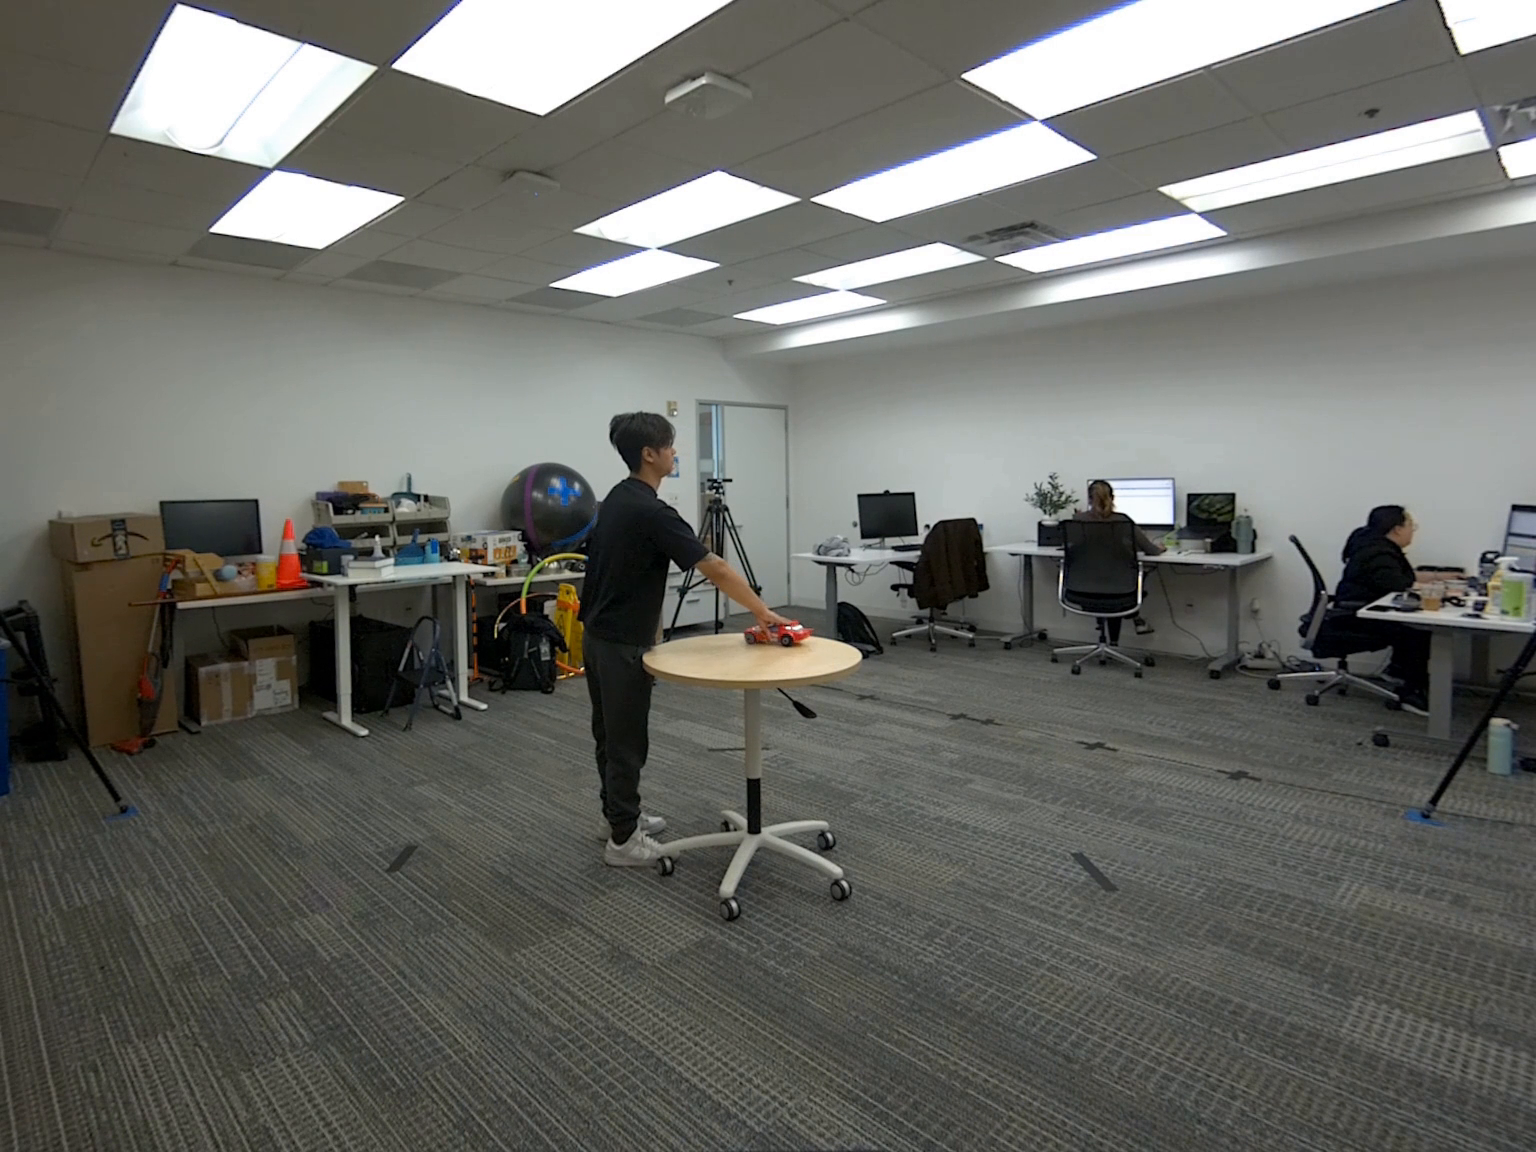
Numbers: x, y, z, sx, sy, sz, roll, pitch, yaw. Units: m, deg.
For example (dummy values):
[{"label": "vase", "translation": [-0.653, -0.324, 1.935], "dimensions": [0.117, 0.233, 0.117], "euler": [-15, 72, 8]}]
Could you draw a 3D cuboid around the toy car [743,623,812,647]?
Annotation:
[{"label": "toy car", "translation": [0.039, 0.220, 3.165], "dimensions": [0.259, 0.083, 0.128], "euler": [-9, 2, 26]}]
